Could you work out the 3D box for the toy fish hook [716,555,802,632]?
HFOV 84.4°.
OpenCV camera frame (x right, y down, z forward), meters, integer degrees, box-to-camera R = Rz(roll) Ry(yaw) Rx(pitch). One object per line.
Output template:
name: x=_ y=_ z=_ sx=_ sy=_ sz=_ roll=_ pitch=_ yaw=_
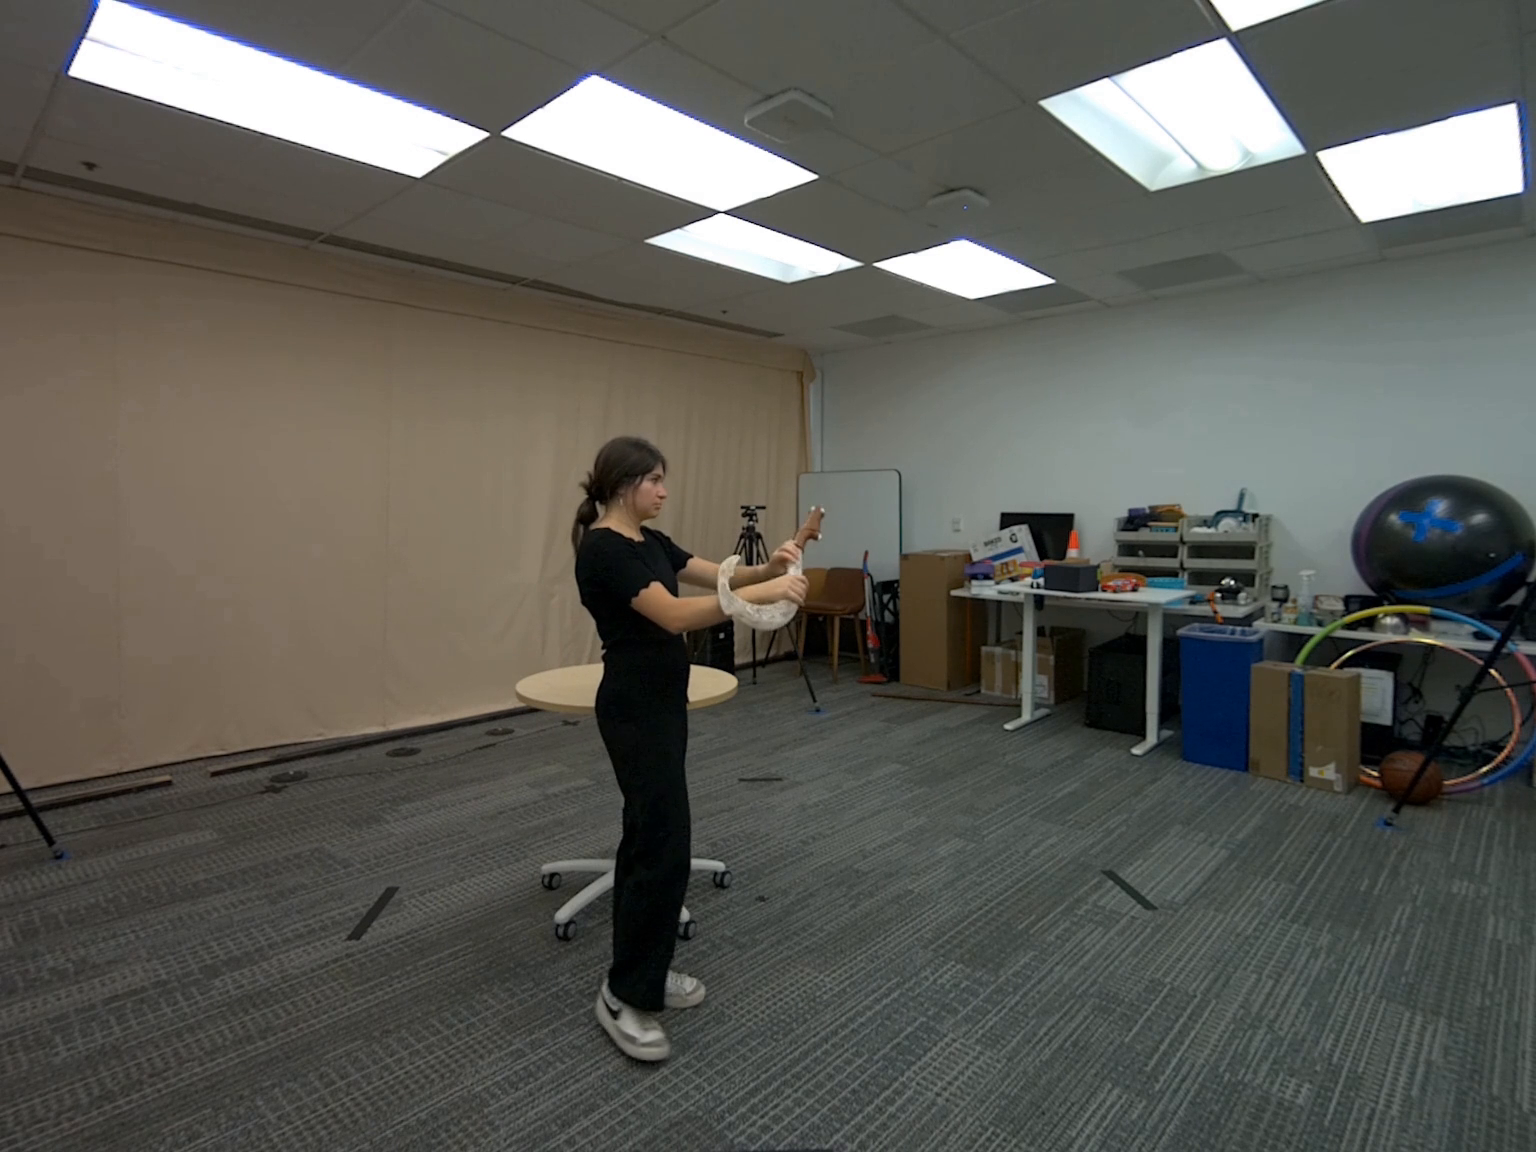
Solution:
toy fish hook: x=0.028 y=-0.054 z=2.214 sx=0.224 sy=0.507 sz=0.048 roll=29 pitch=-42 yaw=-1
